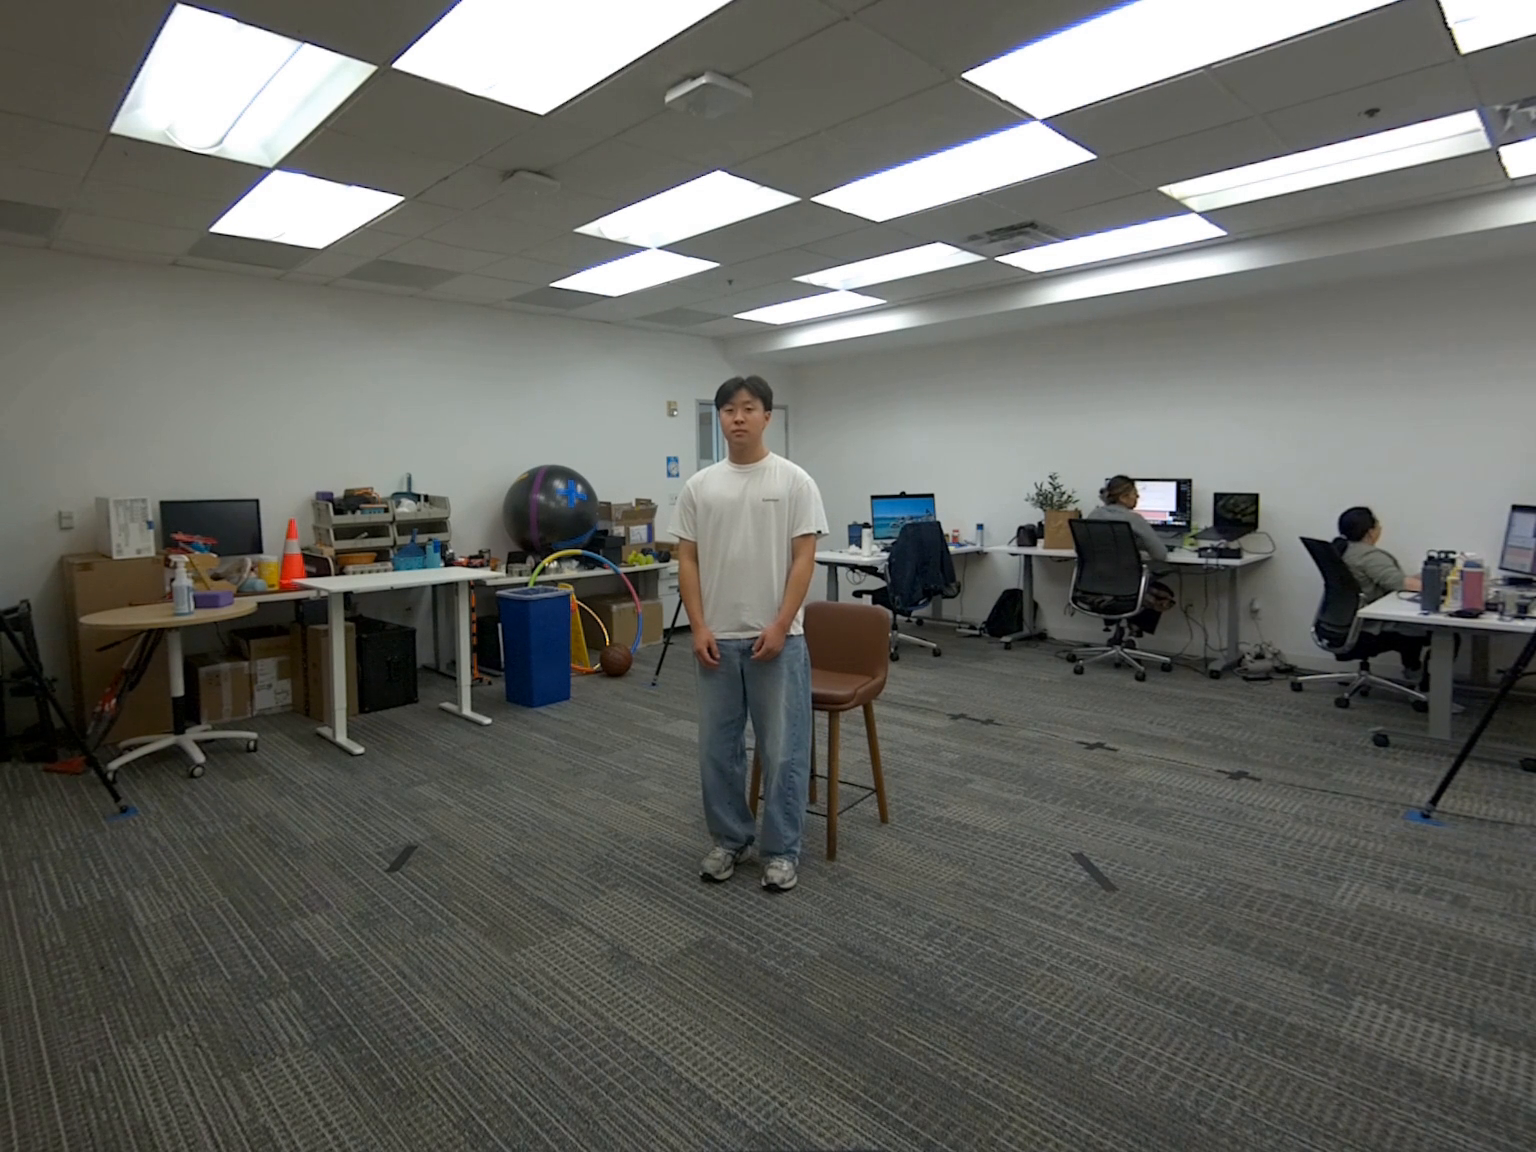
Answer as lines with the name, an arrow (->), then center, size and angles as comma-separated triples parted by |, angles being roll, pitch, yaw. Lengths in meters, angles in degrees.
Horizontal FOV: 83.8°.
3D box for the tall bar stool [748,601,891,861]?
tall bar stool -> 0.211, 0.569, 3.379 | 0.470, 0.887, 0.455 | 3, 4, 38
